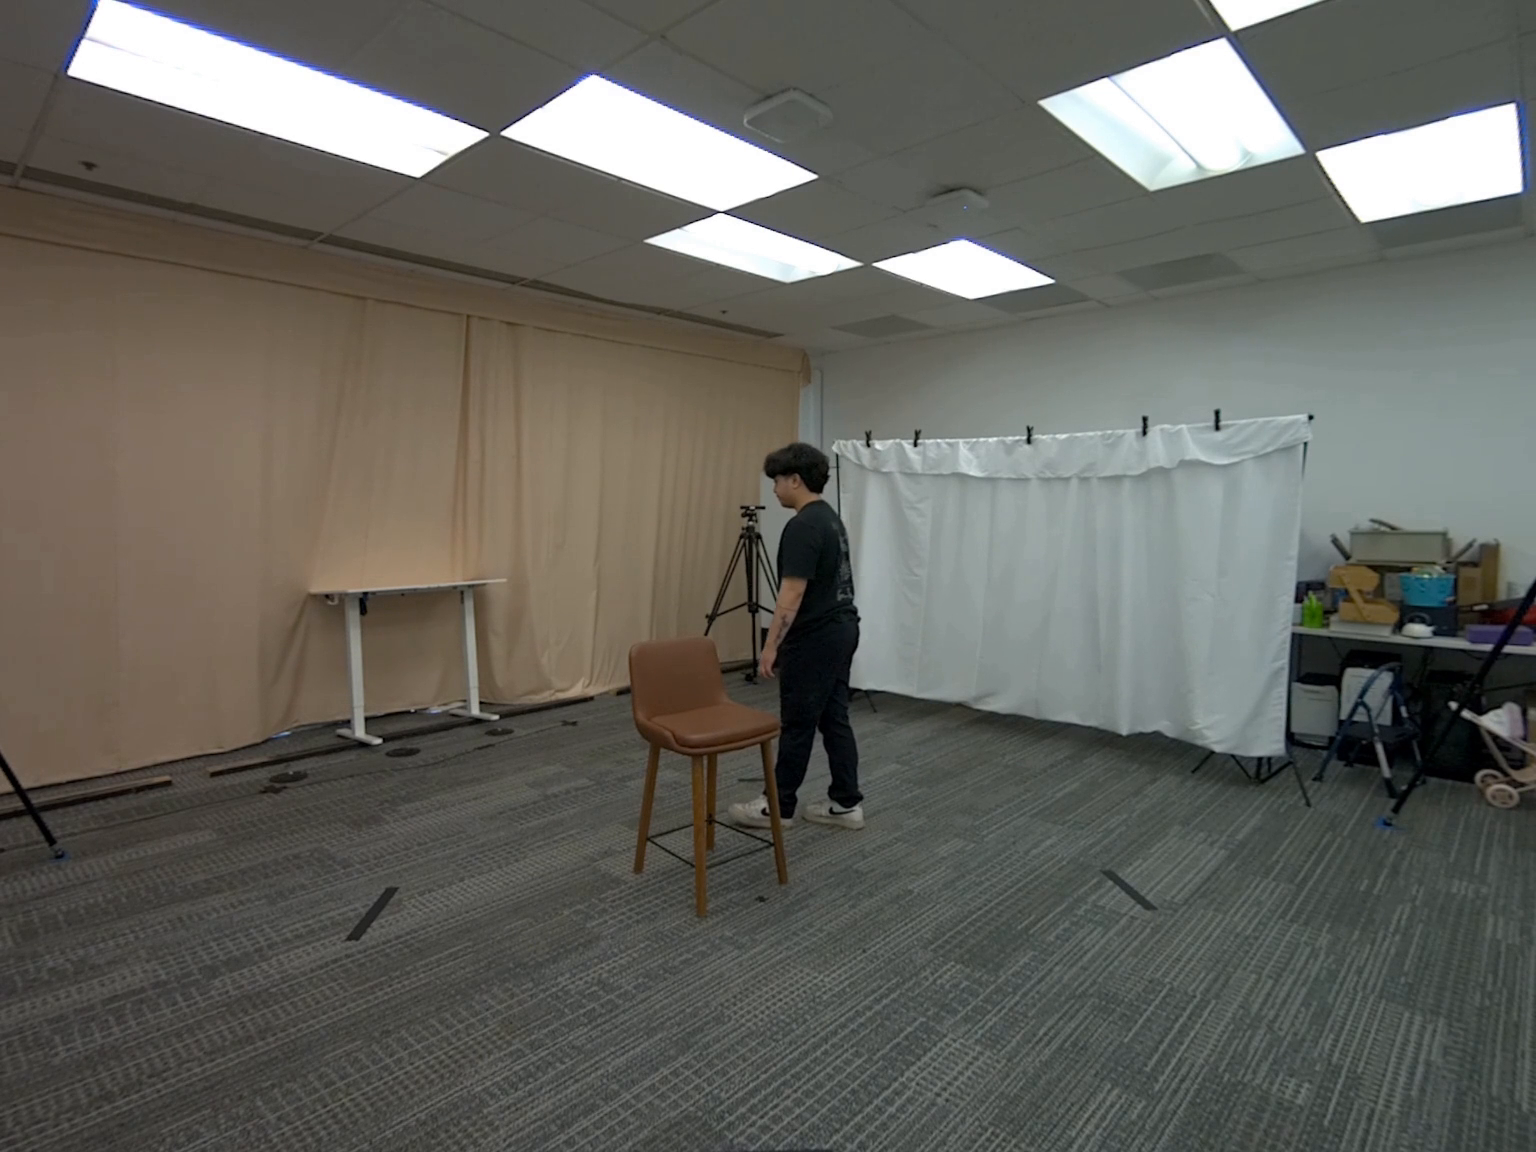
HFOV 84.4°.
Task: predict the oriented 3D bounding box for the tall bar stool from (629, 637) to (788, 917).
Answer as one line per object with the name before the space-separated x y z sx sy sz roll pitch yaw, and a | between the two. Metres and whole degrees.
tall bar stool | -0.234 0.698 3.131 0.443 0.889 0.482 -3 2 -39
